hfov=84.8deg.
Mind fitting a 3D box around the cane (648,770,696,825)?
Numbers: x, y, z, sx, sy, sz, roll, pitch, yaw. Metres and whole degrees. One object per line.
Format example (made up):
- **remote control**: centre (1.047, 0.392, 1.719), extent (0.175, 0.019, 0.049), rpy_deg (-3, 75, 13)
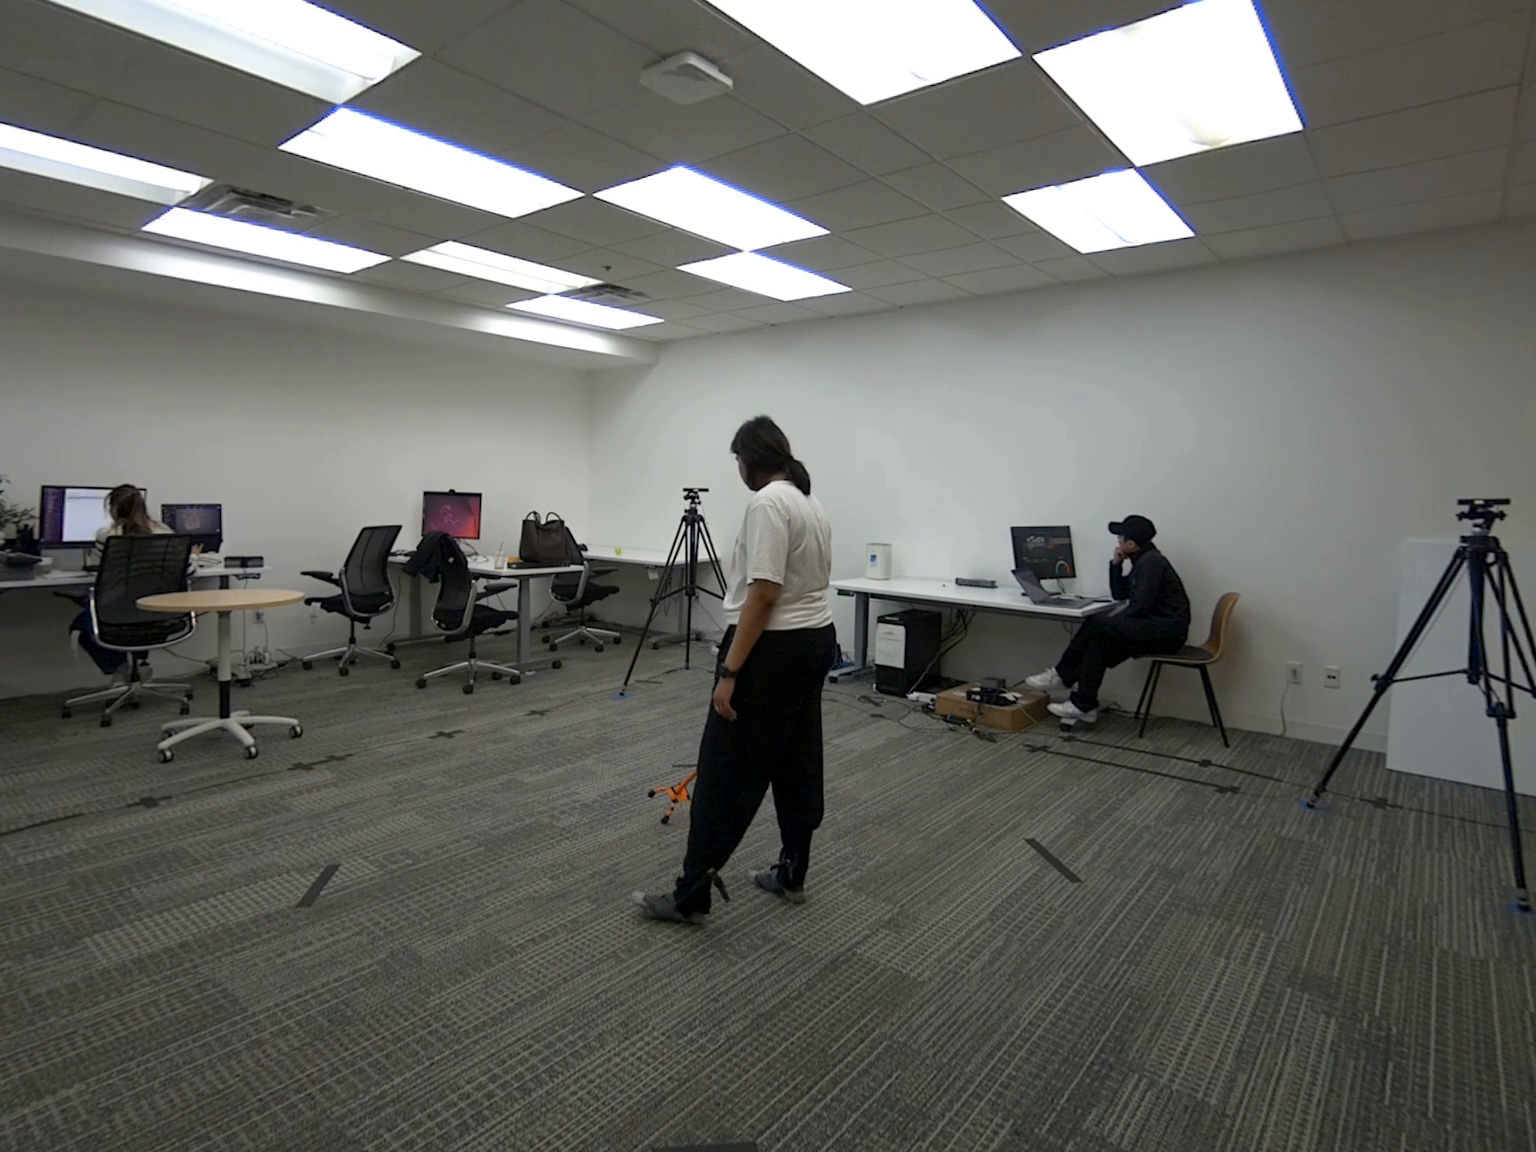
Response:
- **cane**: centre (-0.177, 0.673, 3.384), extent (0.200, 0.156, 0.905), rpy_deg (-4, -37, -48)
